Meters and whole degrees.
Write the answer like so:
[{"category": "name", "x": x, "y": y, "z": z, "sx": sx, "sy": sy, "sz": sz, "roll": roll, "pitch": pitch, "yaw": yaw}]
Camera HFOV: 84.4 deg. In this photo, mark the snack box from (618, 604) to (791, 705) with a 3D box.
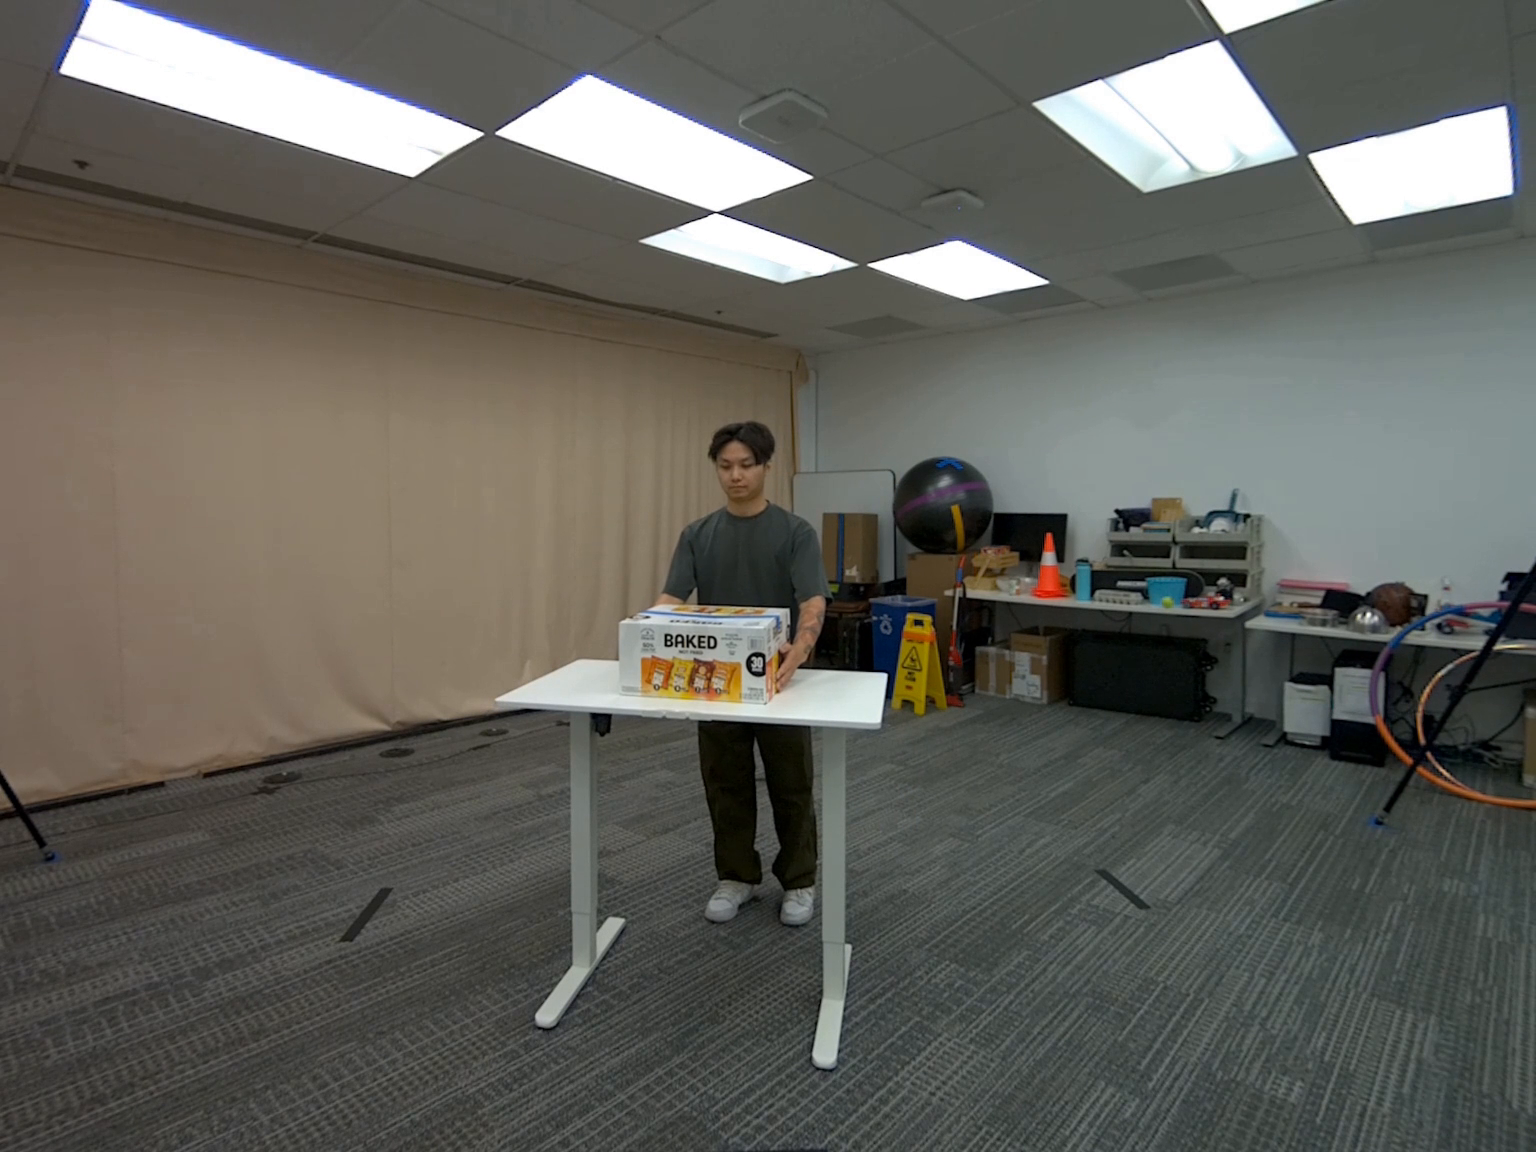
[{"category": "snack box", "x": -0.167, "y": 0.209, "z": 2.377, "sx": 0.412, "sy": 0.205, "sz": 0.336, "roll": 1, "pitch": 5, "yaw": 14}]
